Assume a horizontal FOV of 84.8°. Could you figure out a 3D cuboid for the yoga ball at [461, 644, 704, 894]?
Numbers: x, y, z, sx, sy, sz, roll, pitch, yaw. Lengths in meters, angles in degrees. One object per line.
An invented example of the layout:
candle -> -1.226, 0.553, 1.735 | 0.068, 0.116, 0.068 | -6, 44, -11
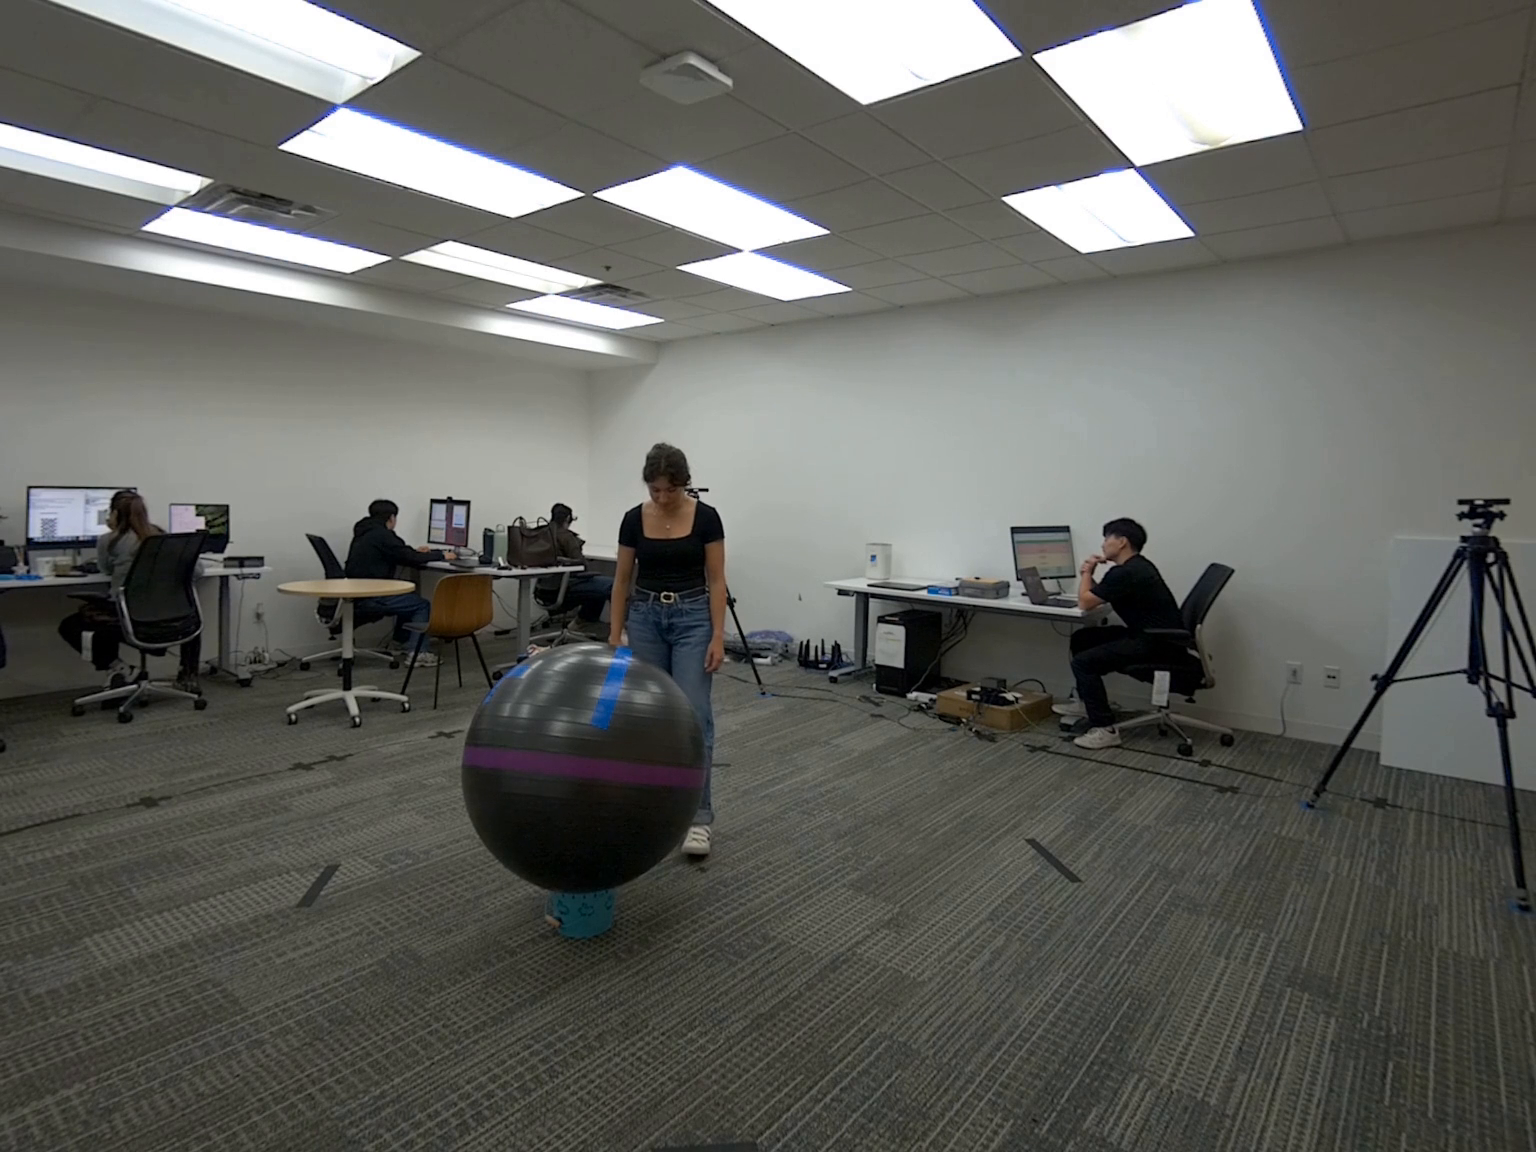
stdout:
yoga ball -> -0.593, 0.596, 2.691 | 0.757, 0.756, 0.761 | 1, 4, -2
